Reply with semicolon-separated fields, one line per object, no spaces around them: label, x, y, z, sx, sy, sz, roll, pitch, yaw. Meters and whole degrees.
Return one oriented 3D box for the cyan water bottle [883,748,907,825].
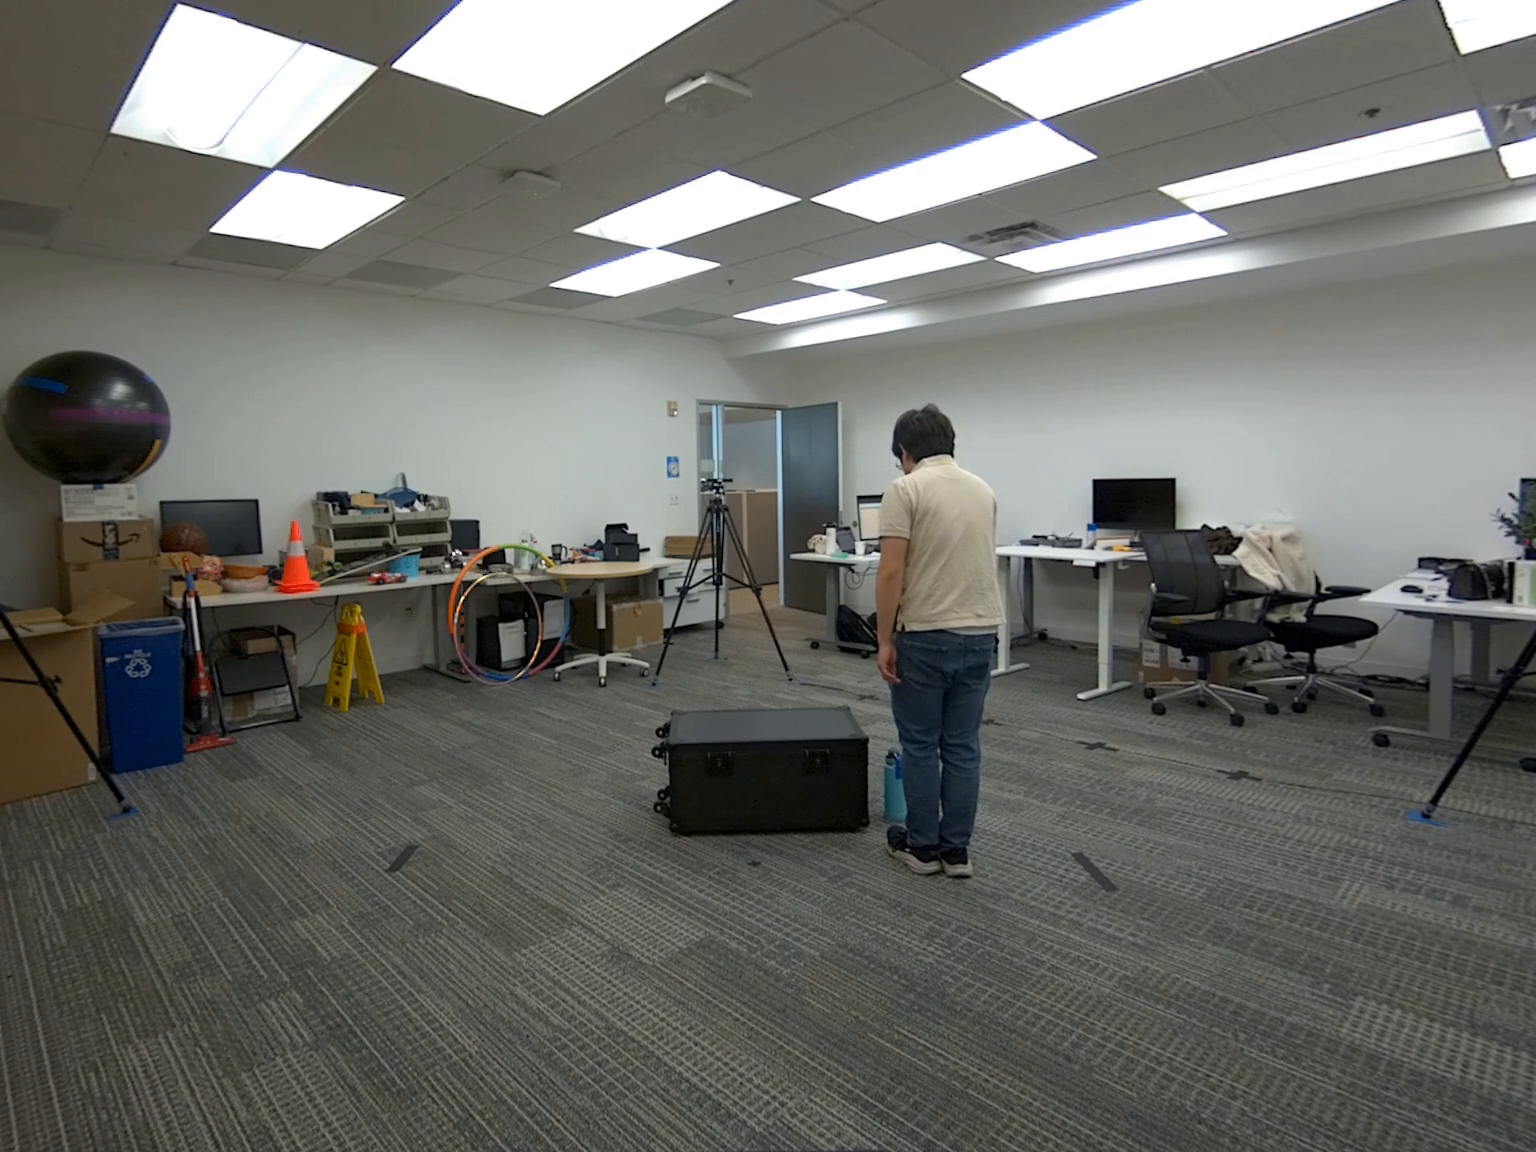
cyan water bottle;0.513;0.849;3.498;0.092;0.283;0.092;-1;0;-2
